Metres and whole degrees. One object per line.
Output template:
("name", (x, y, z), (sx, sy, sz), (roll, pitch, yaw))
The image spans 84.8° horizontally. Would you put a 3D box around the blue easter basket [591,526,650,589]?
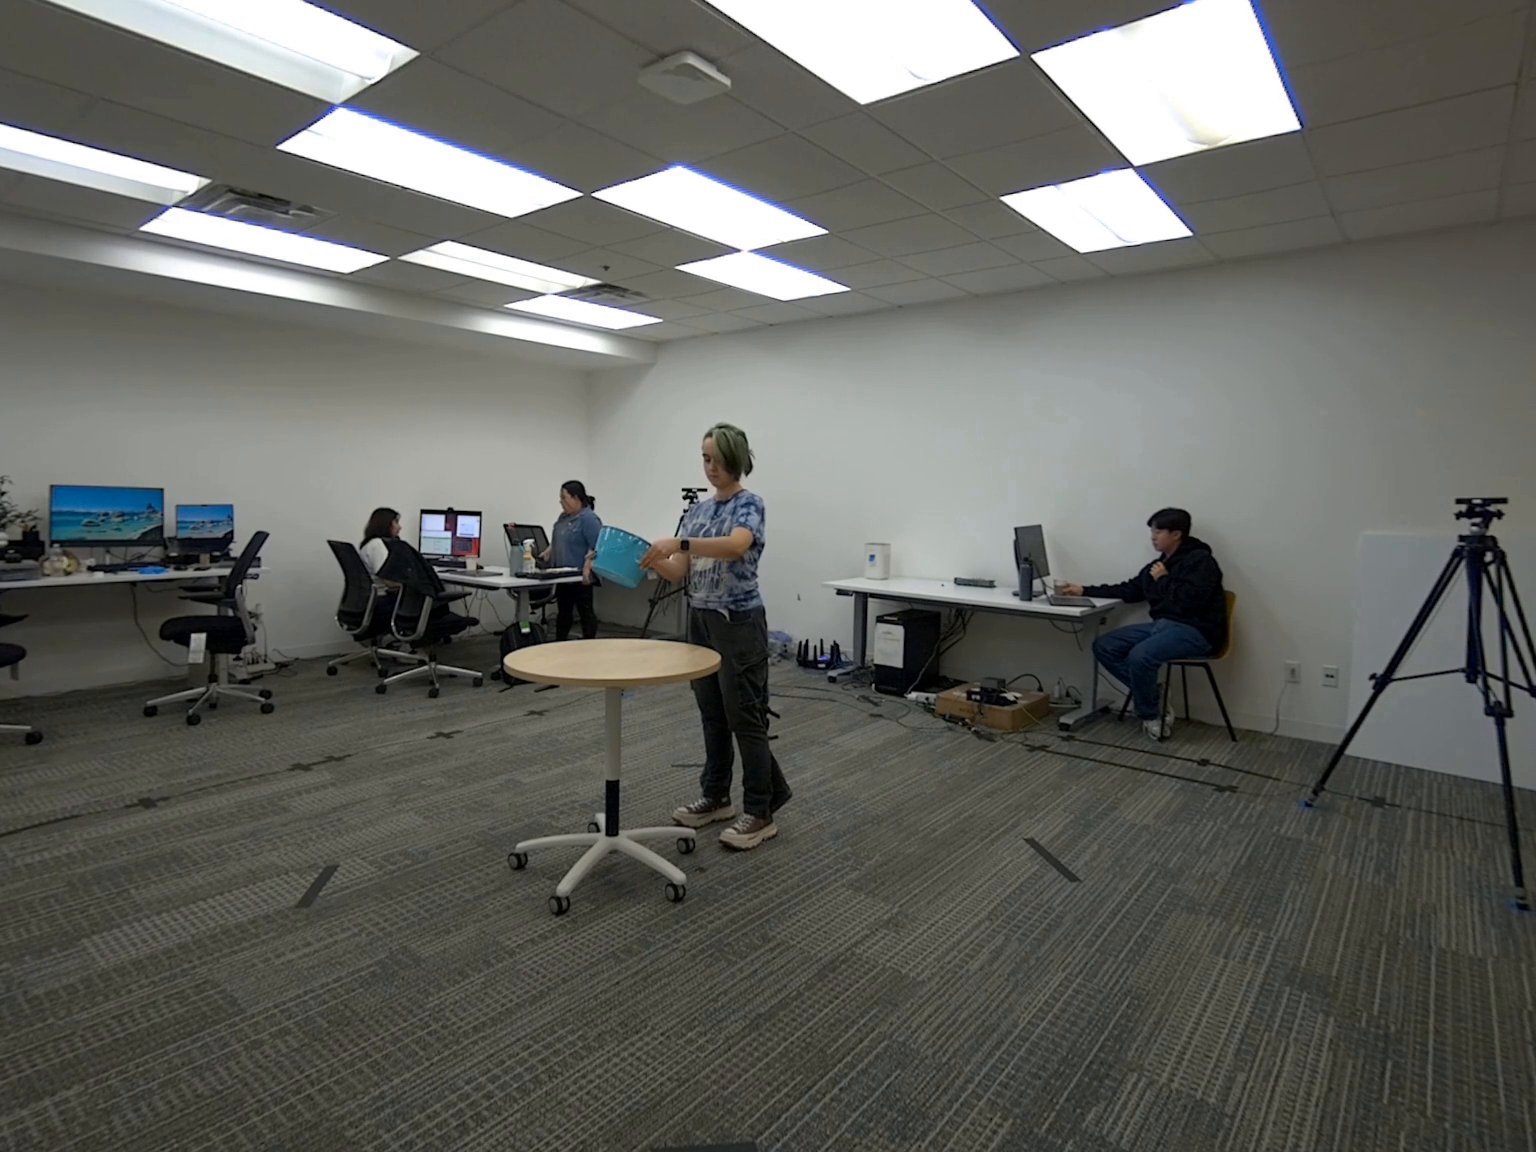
("blue easter basket", (-0.547, -0.063, 3.097), (0.245, 0.157, 0.240), (22, -15, 4))
